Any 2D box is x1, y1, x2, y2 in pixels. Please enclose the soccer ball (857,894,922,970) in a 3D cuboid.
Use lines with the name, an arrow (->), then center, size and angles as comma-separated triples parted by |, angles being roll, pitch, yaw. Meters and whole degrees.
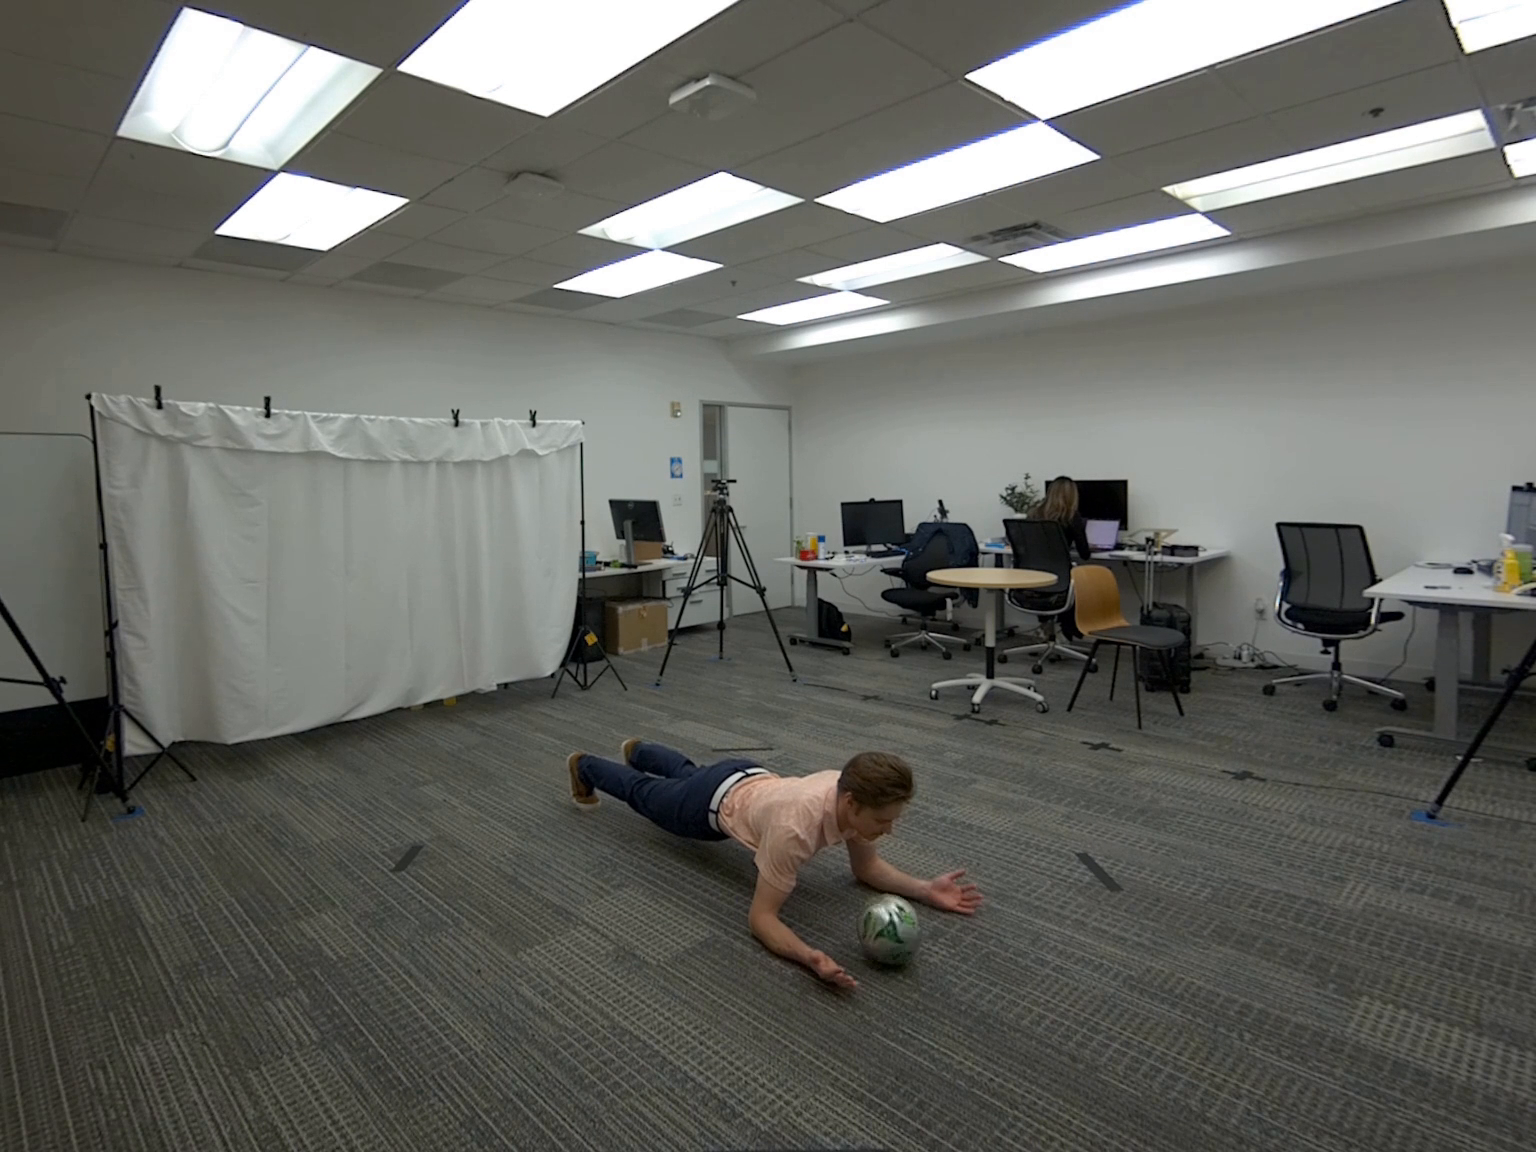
soccer ball -> 0.349, 1.023, 2.469 | 0.187, 0.187, 0.188 | -1, 5, -2
